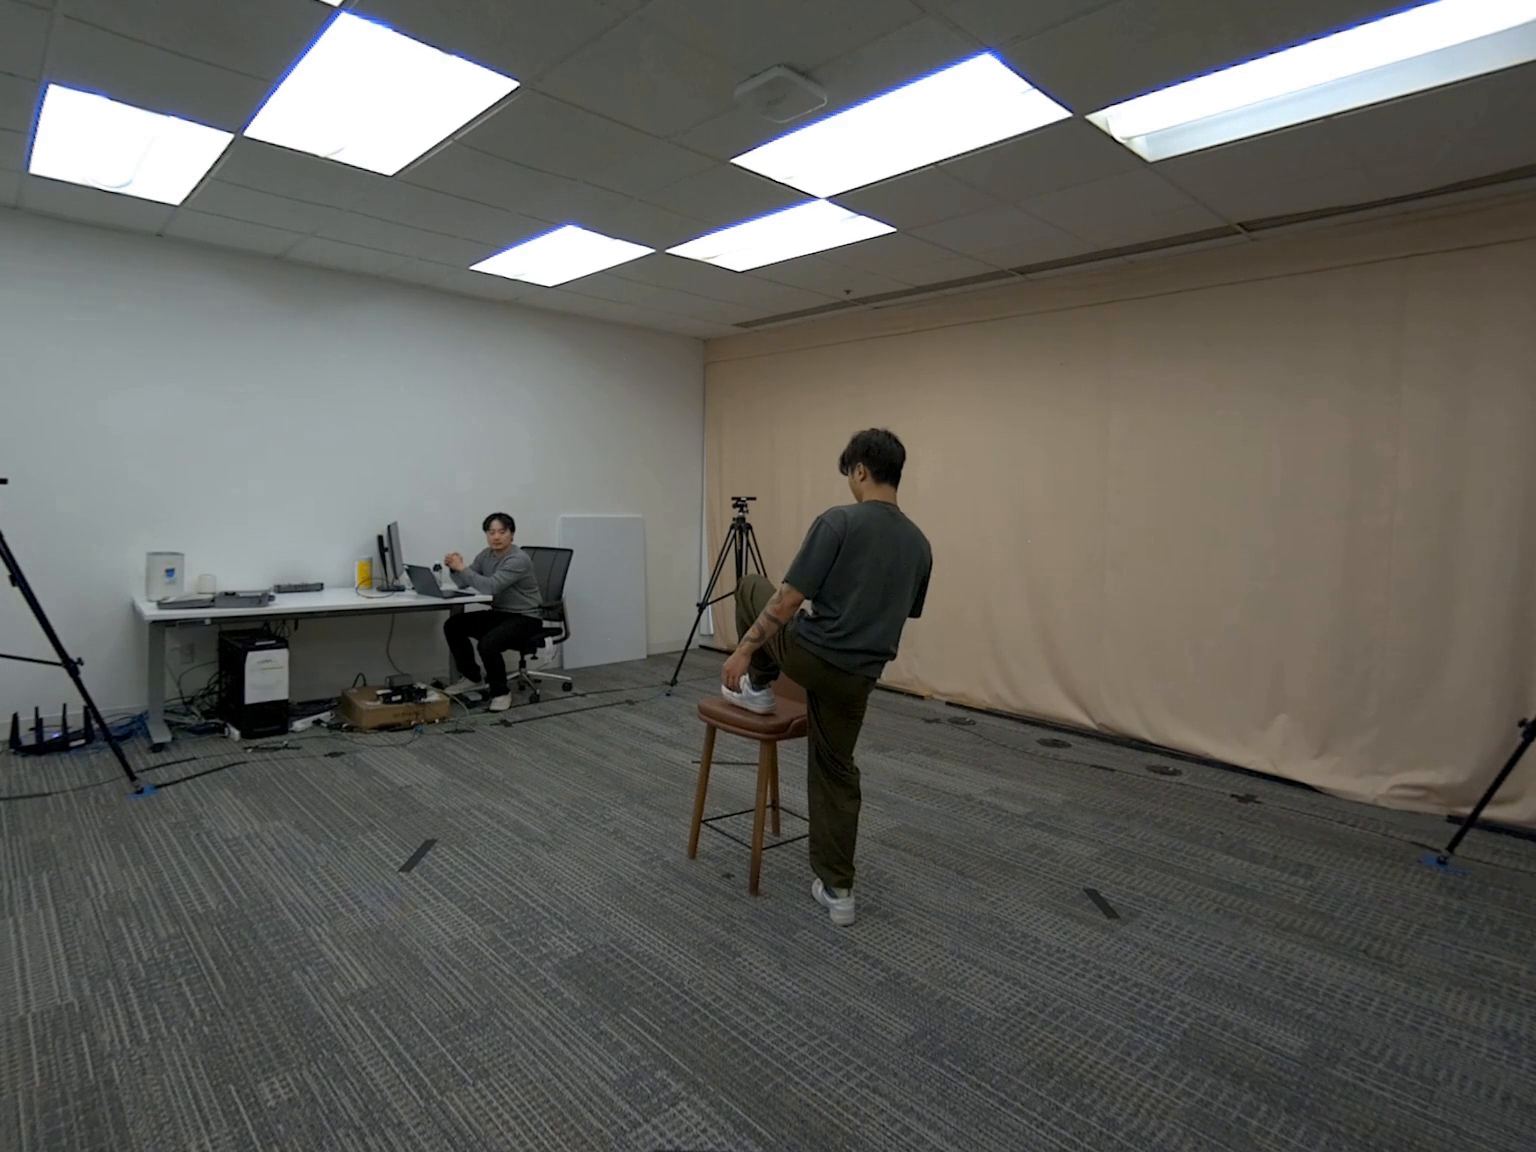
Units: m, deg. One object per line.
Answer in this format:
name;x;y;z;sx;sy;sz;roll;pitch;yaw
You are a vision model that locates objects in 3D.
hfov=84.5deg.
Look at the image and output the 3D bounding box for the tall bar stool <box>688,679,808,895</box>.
tall bar stool;-0.007;0.661;3.222;0.457;0.889;0.468;1;2;-39
